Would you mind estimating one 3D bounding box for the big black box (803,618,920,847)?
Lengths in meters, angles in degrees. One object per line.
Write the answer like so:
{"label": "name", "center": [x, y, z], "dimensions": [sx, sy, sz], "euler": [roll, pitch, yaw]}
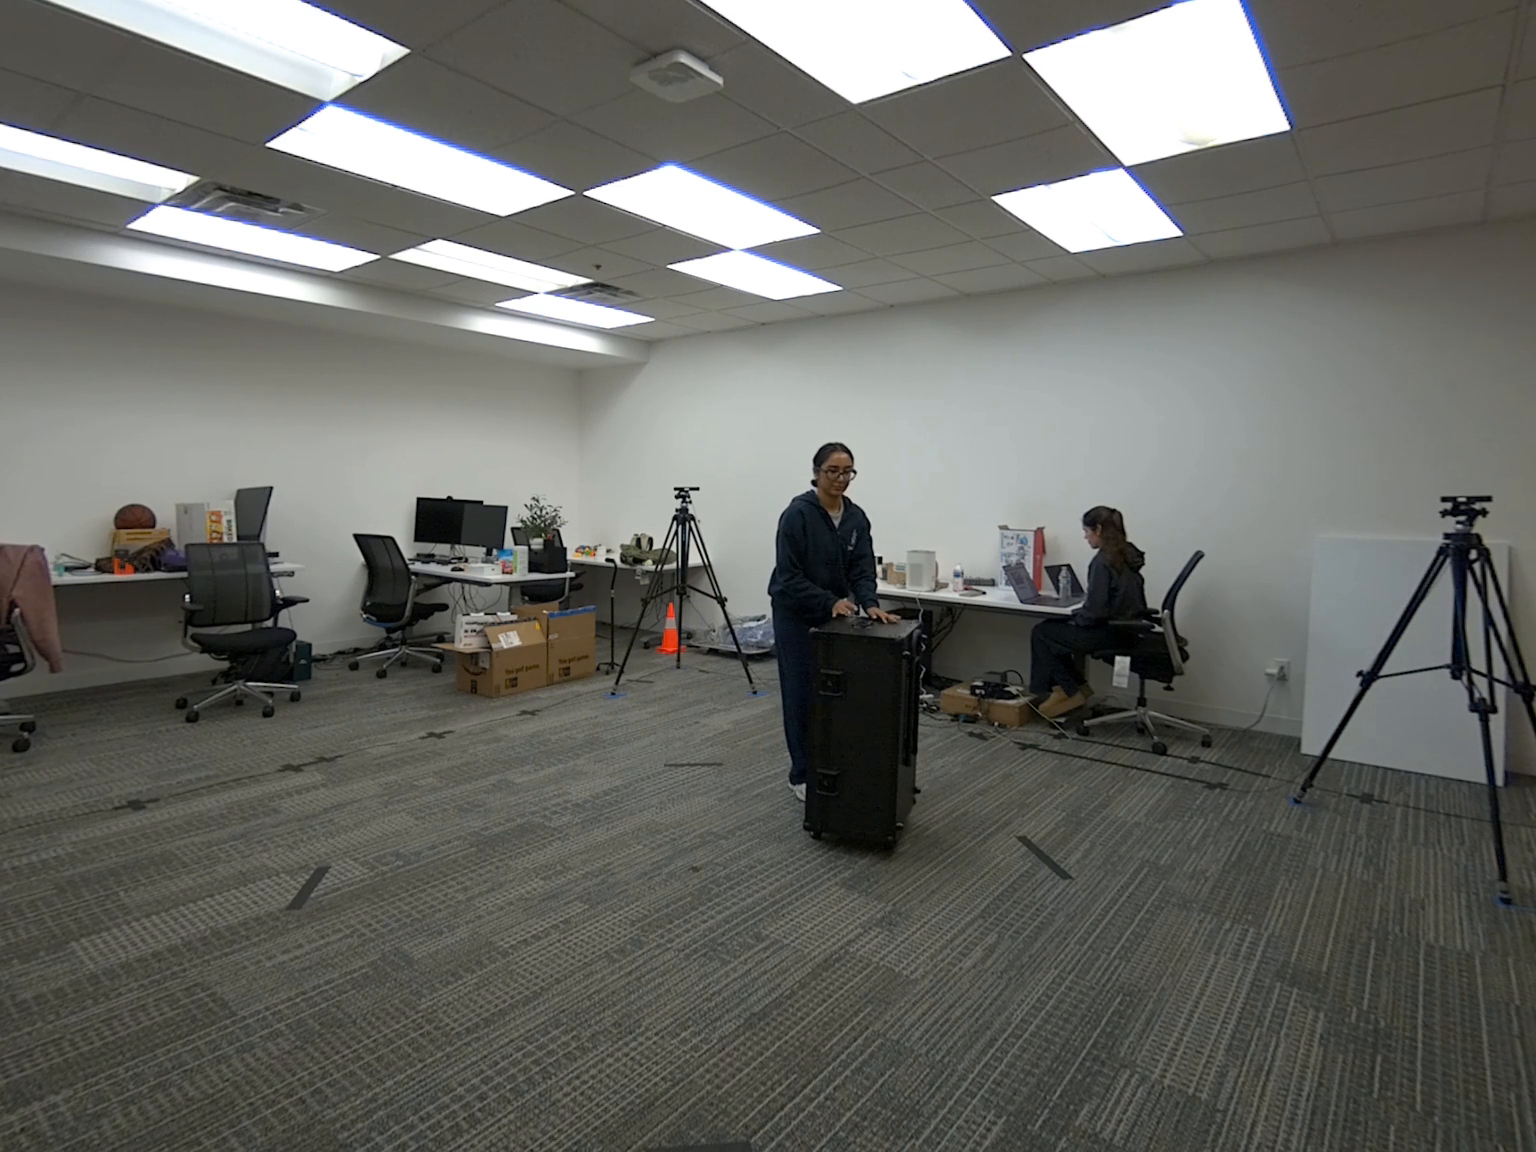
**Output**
{"label": "big black box", "center": [0.395, 0.617, 3.445], "dimensions": [0.405, 0.858, 0.512], "euler": [4, 4, 20]}
